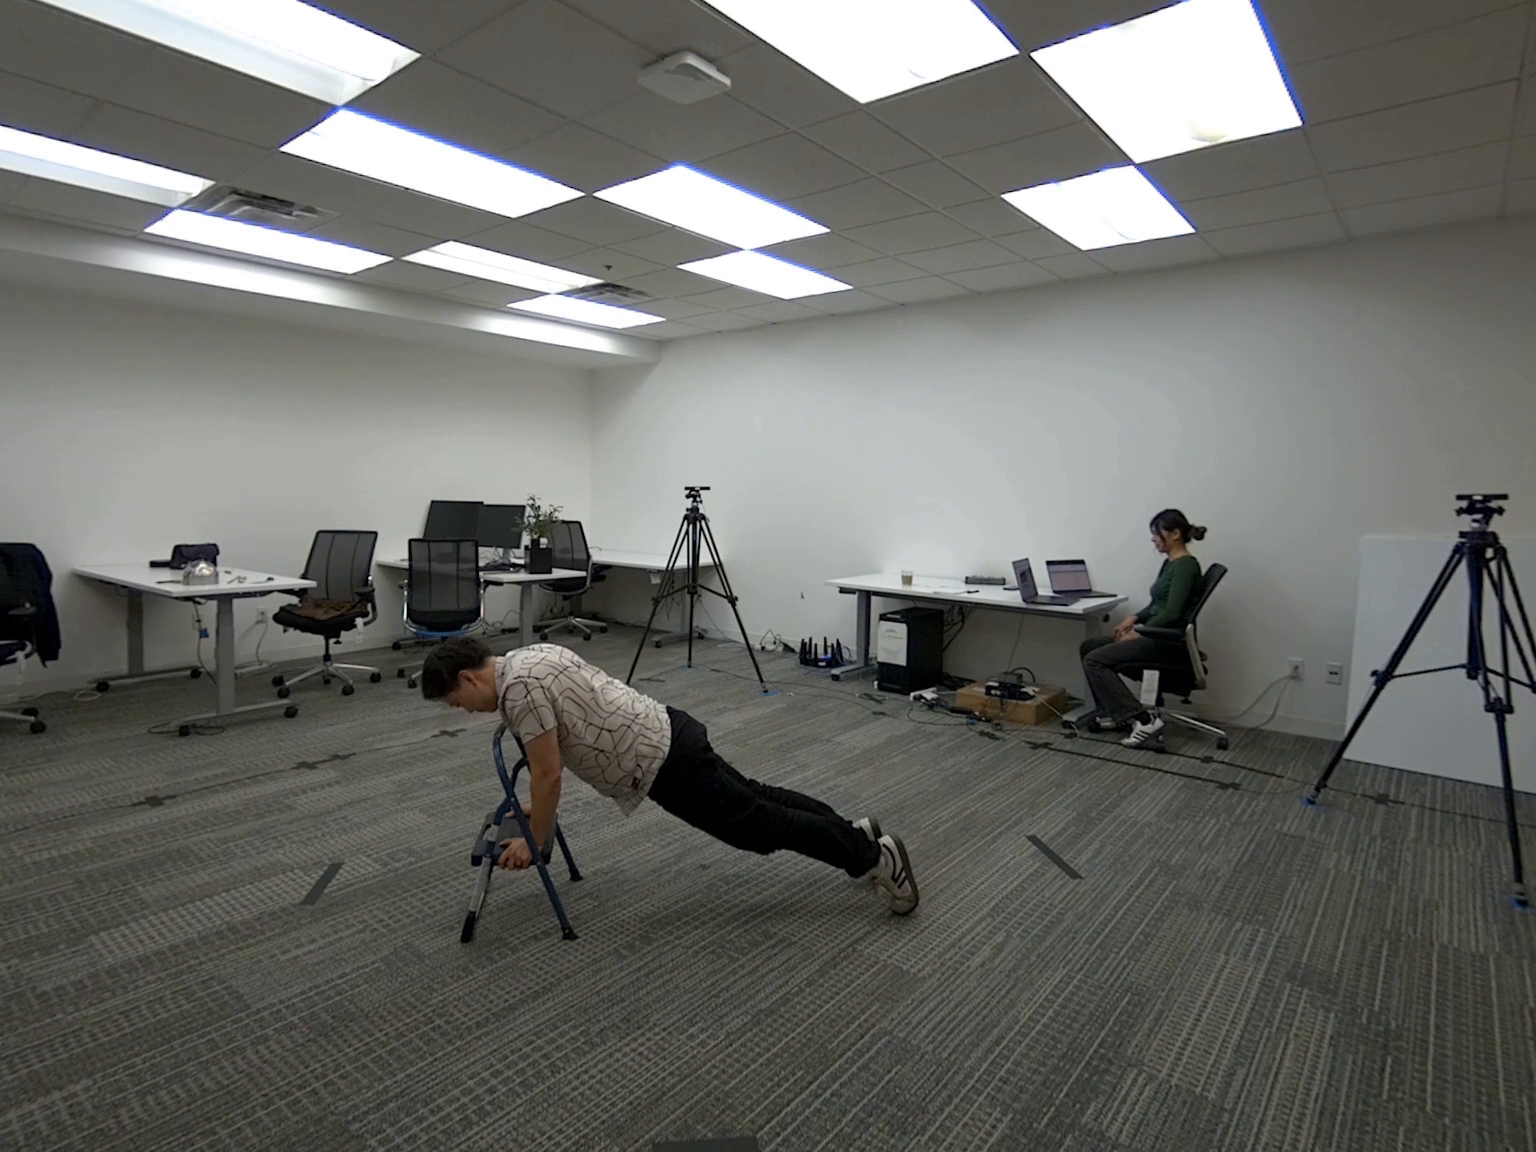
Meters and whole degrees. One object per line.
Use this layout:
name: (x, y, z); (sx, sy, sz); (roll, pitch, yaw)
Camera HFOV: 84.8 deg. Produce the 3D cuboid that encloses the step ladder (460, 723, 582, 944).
step ladder: (-0.804, 0.793, 2.781); (0.346, 0.604, 0.436); (1, 3, -9)
